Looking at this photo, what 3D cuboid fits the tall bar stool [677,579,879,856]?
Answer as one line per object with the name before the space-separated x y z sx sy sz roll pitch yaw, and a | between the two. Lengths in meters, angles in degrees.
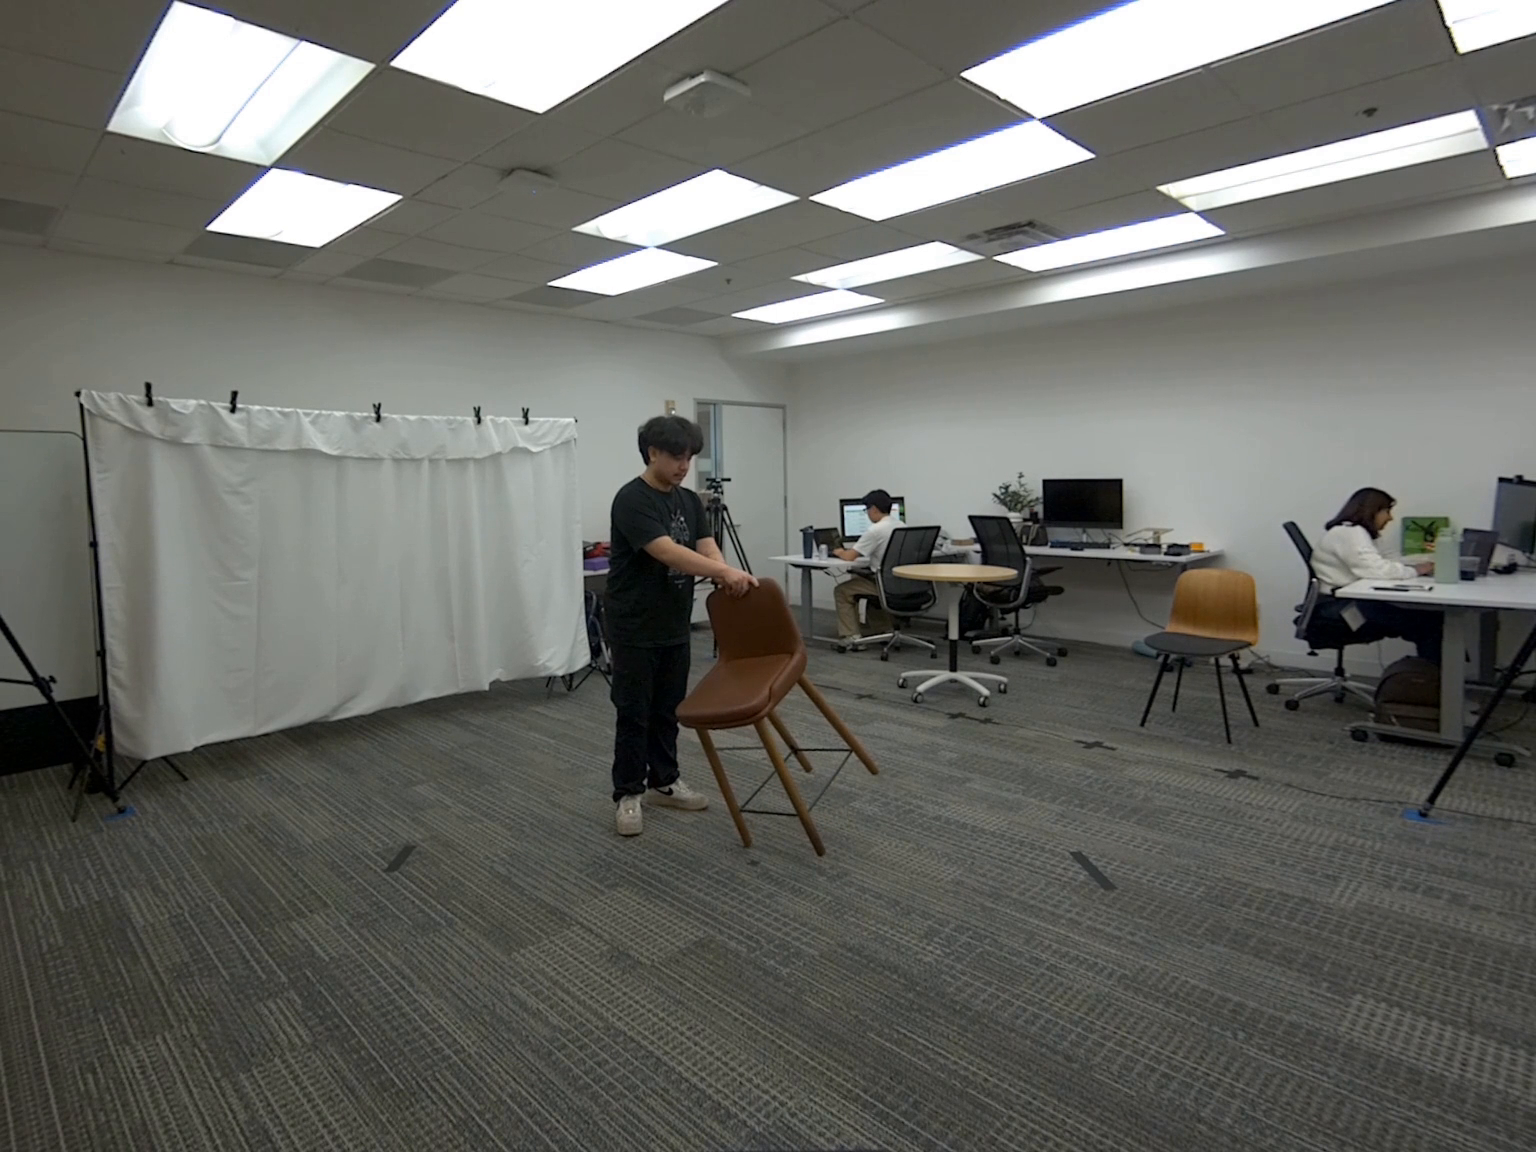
tall bar stool | -0.017 0.513 3.158 0.466 0.877 0.464 -13 18 46
